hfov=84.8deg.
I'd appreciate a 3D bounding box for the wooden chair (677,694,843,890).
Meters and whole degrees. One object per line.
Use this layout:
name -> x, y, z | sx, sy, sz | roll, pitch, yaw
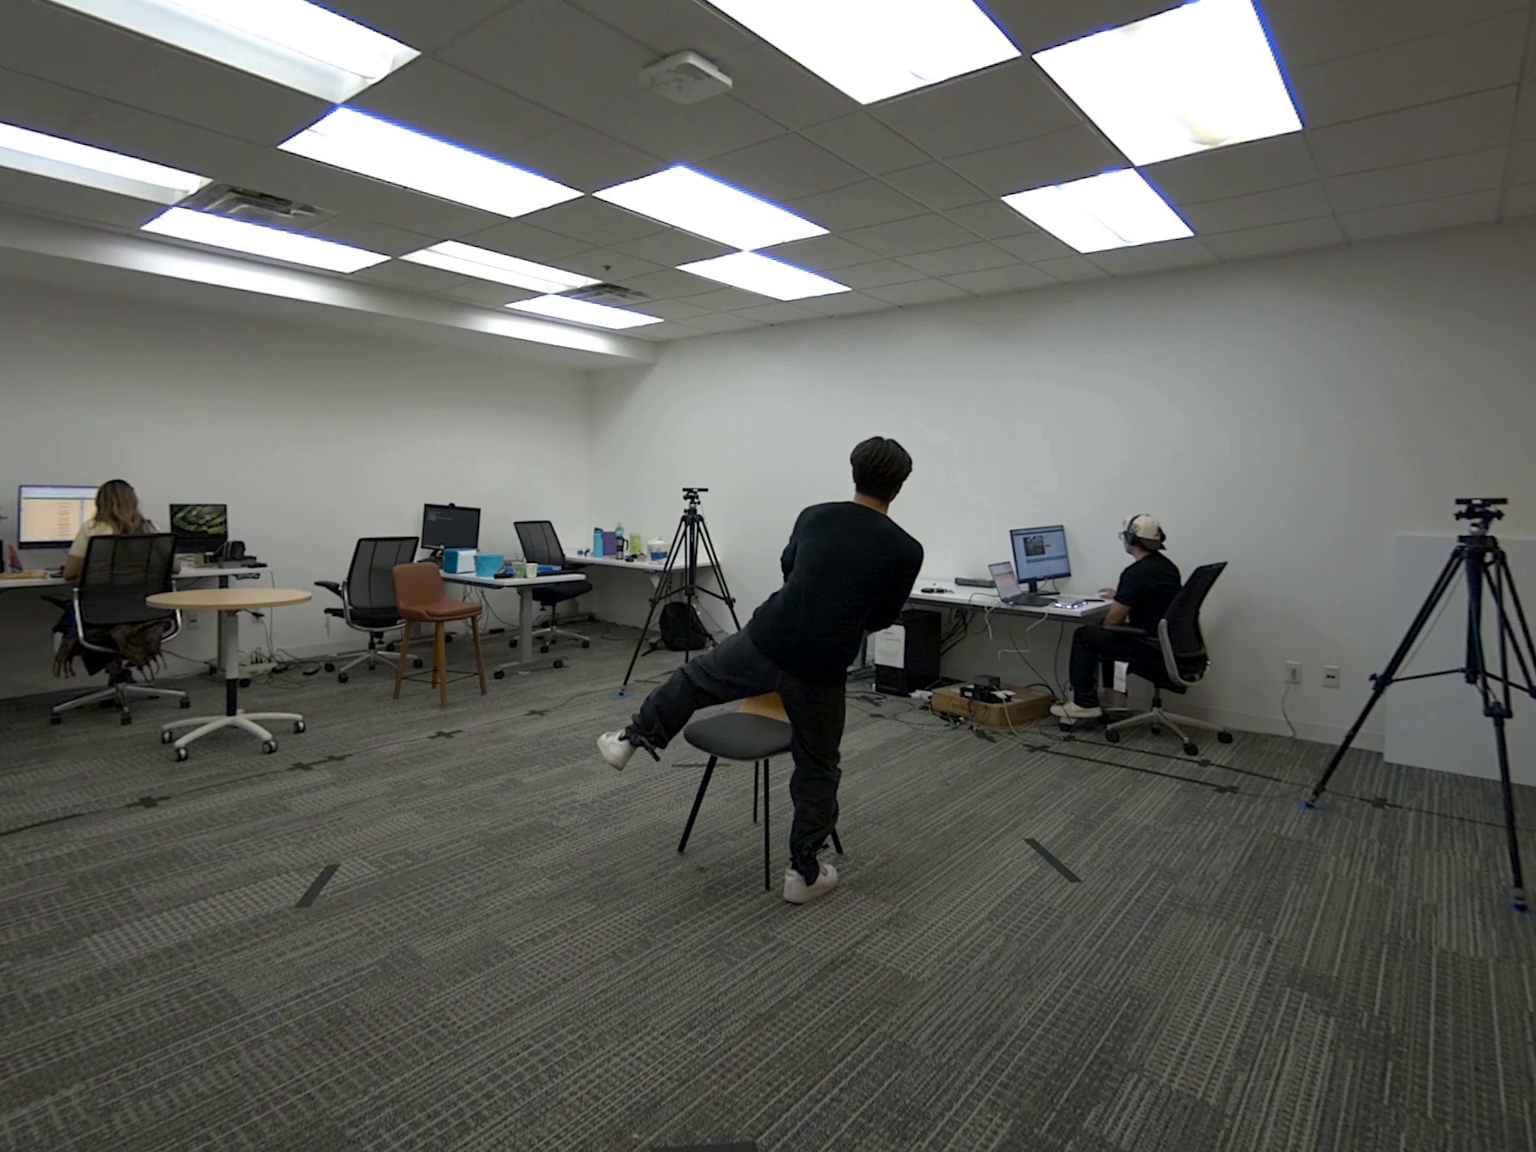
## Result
wooden chair -> -0.034, 0.631, 3.232 | 0.494, 0.877, 0.505 | 5, 0, 42
